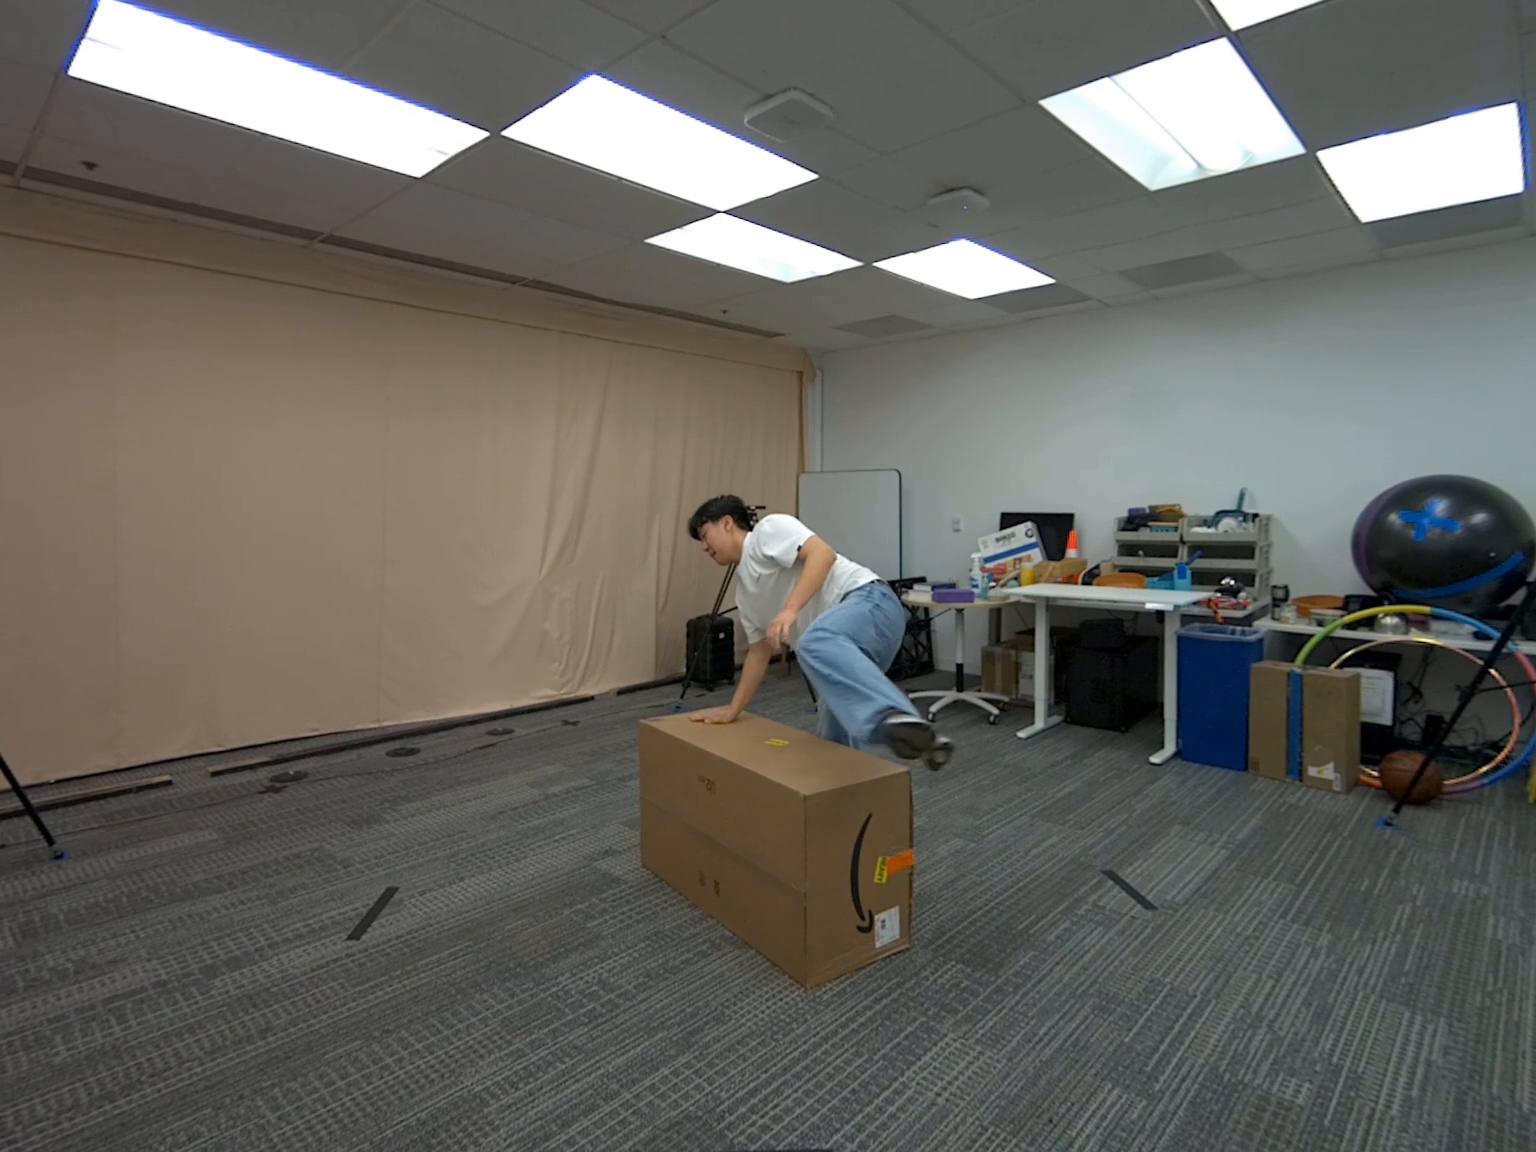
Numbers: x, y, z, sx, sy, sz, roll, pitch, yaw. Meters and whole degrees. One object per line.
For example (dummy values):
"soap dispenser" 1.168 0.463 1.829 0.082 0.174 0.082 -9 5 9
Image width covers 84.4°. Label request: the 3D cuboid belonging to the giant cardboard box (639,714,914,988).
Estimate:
"giant cardboard box" -0.024 0.862 2.943 0.414 0.576 1.058 -3 5 -34
